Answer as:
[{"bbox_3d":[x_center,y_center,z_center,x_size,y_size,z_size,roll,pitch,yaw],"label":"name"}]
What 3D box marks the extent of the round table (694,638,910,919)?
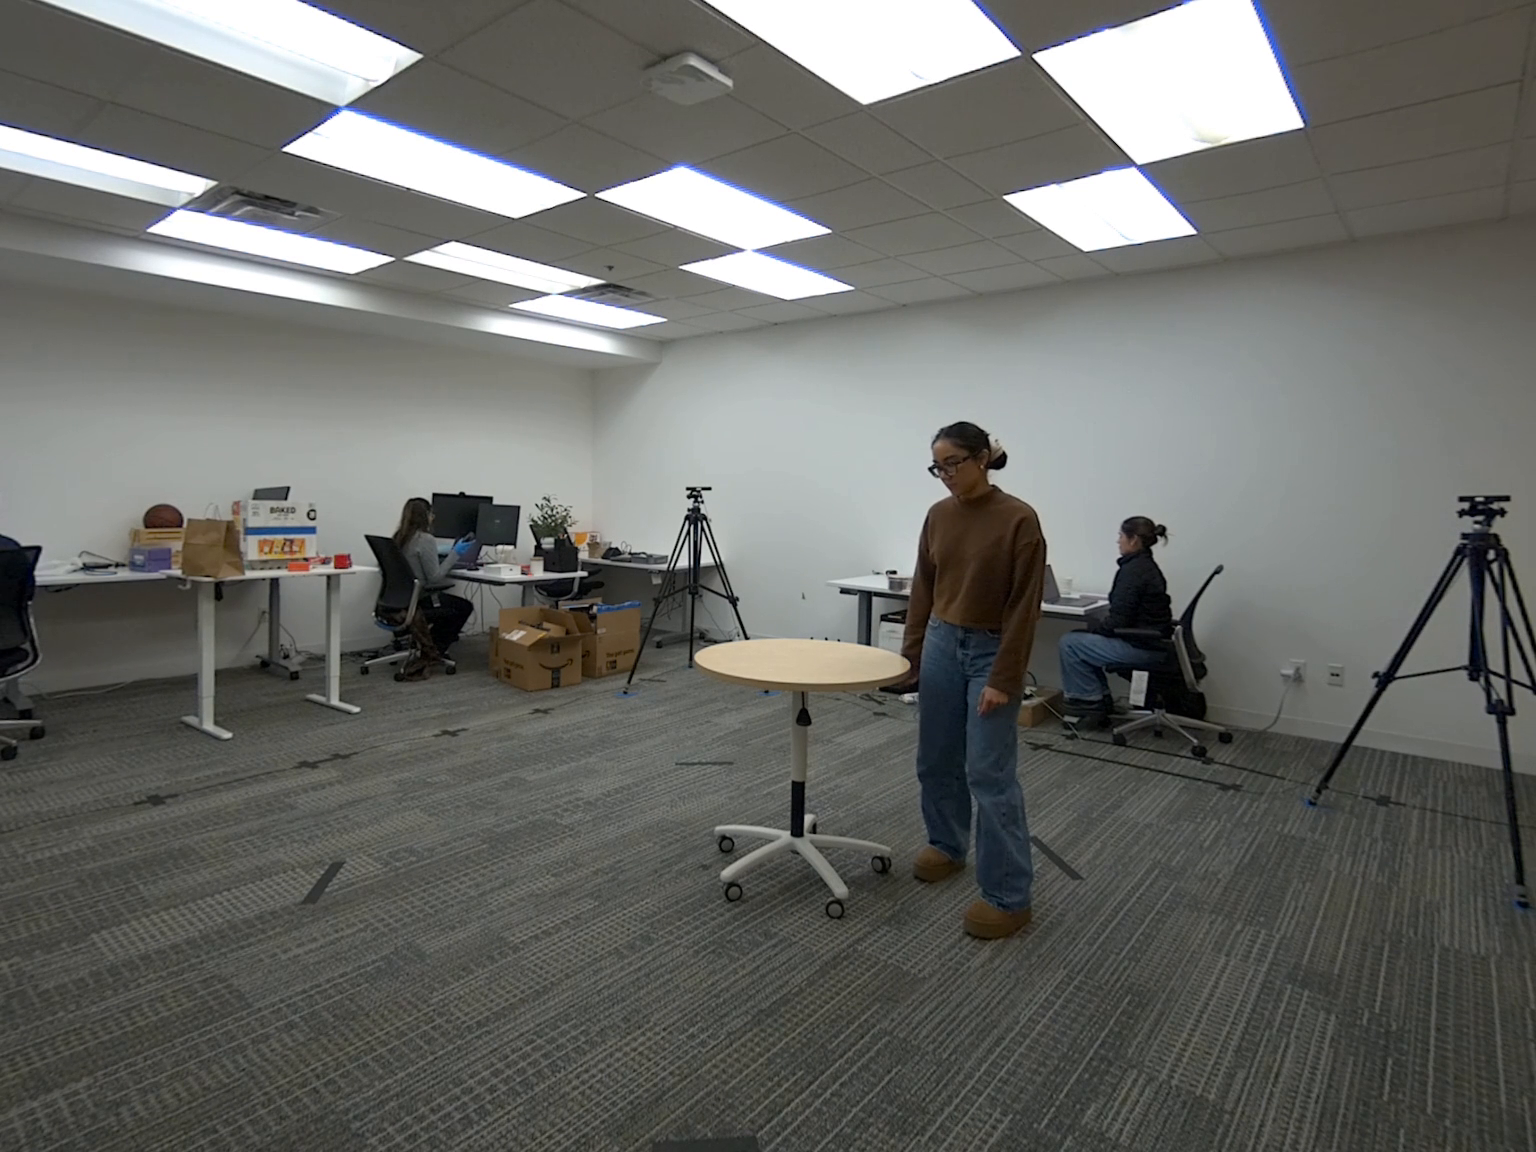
[{"bbox_3d":[0.096,0.686,3.065,0.763,0.791,0.768,1,4,-2],"label":"round table"}]
